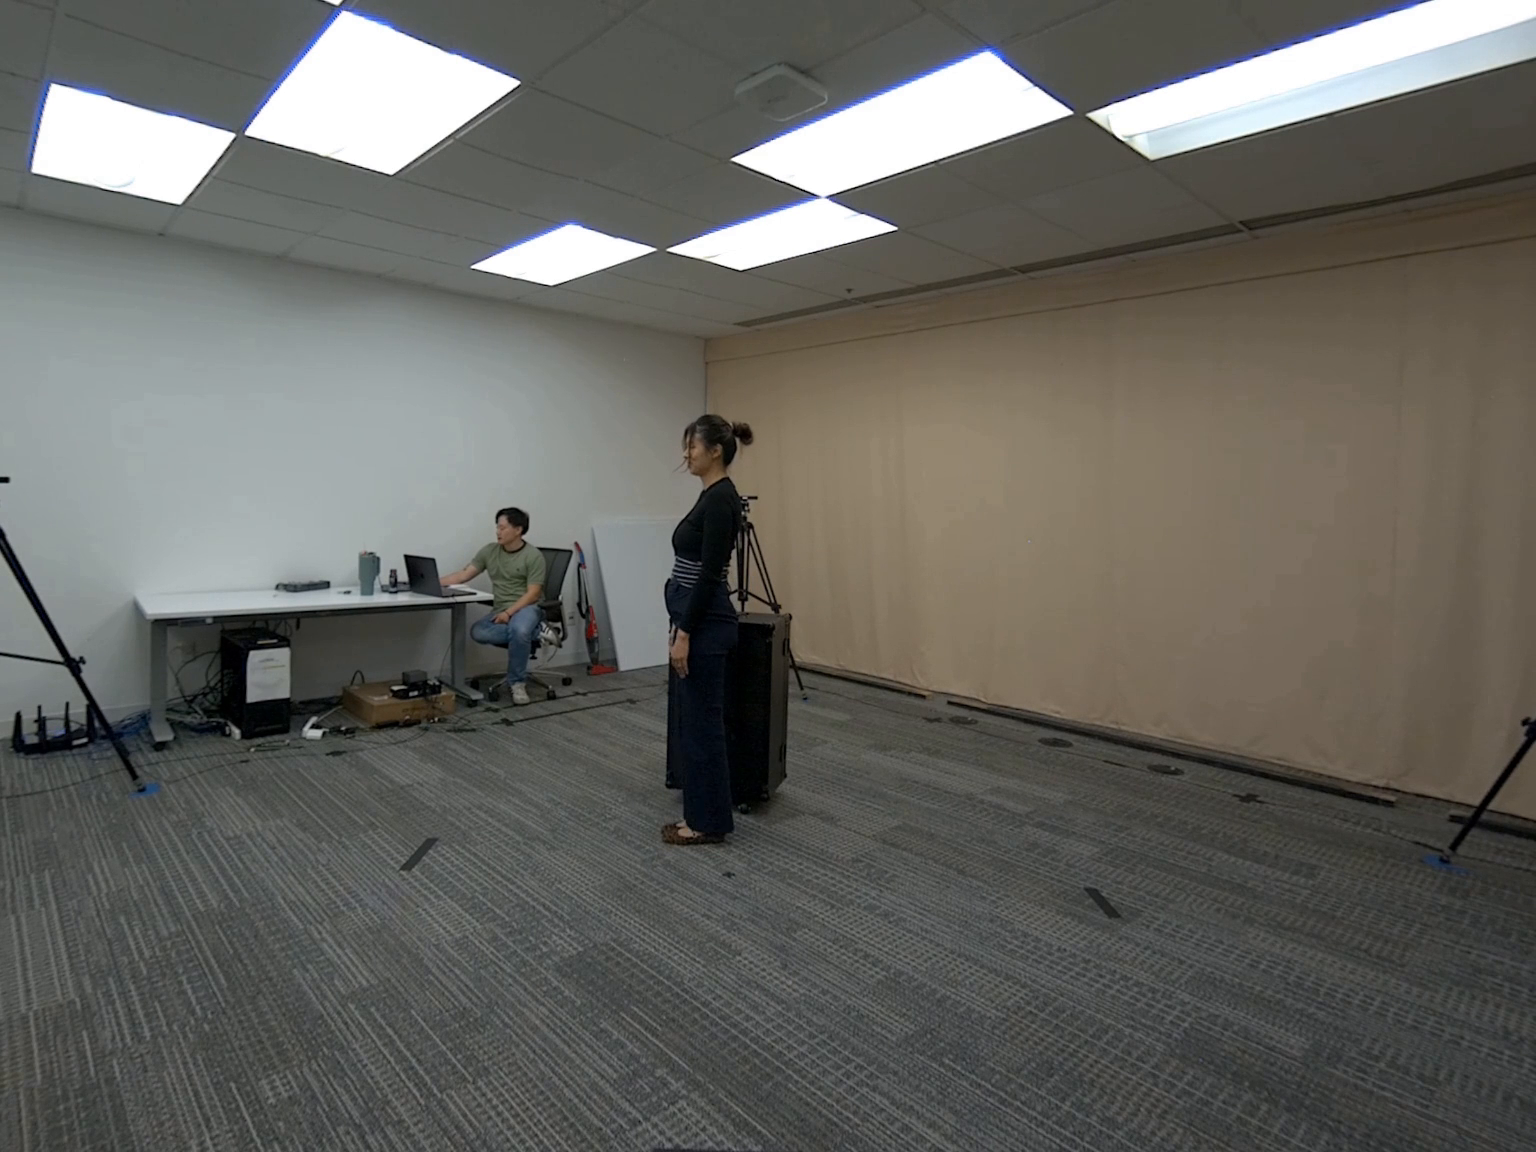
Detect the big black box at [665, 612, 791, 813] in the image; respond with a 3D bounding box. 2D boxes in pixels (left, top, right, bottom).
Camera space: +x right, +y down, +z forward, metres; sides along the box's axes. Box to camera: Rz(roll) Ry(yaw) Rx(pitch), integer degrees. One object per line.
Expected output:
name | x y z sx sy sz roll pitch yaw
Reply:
big black box | -0.183 0.612 3.889 0.528 0.859 0.392 3 5 16
